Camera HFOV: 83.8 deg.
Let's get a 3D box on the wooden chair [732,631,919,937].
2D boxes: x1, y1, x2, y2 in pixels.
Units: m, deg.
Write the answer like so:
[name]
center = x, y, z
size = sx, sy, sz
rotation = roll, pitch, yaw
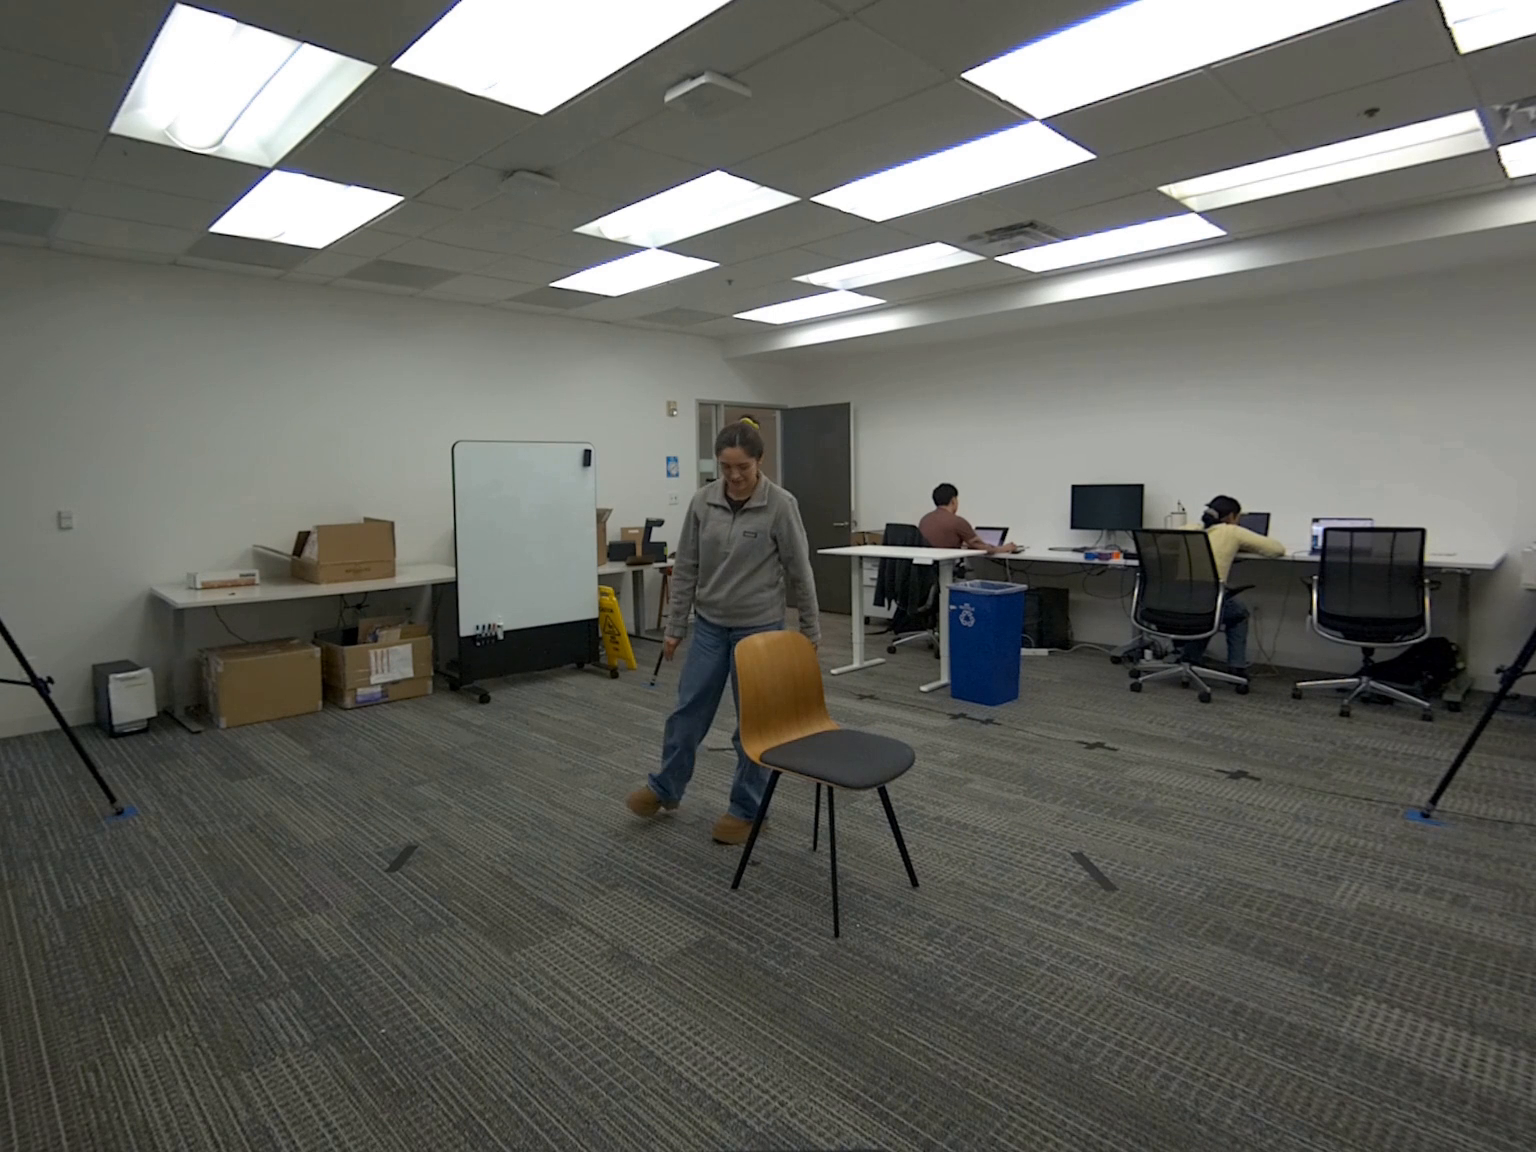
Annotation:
[wooden chair]
center = 0.195, 0.638, 2.869
size = 0.537, 0.877, 0.465
rotation = -3, 1, 44
